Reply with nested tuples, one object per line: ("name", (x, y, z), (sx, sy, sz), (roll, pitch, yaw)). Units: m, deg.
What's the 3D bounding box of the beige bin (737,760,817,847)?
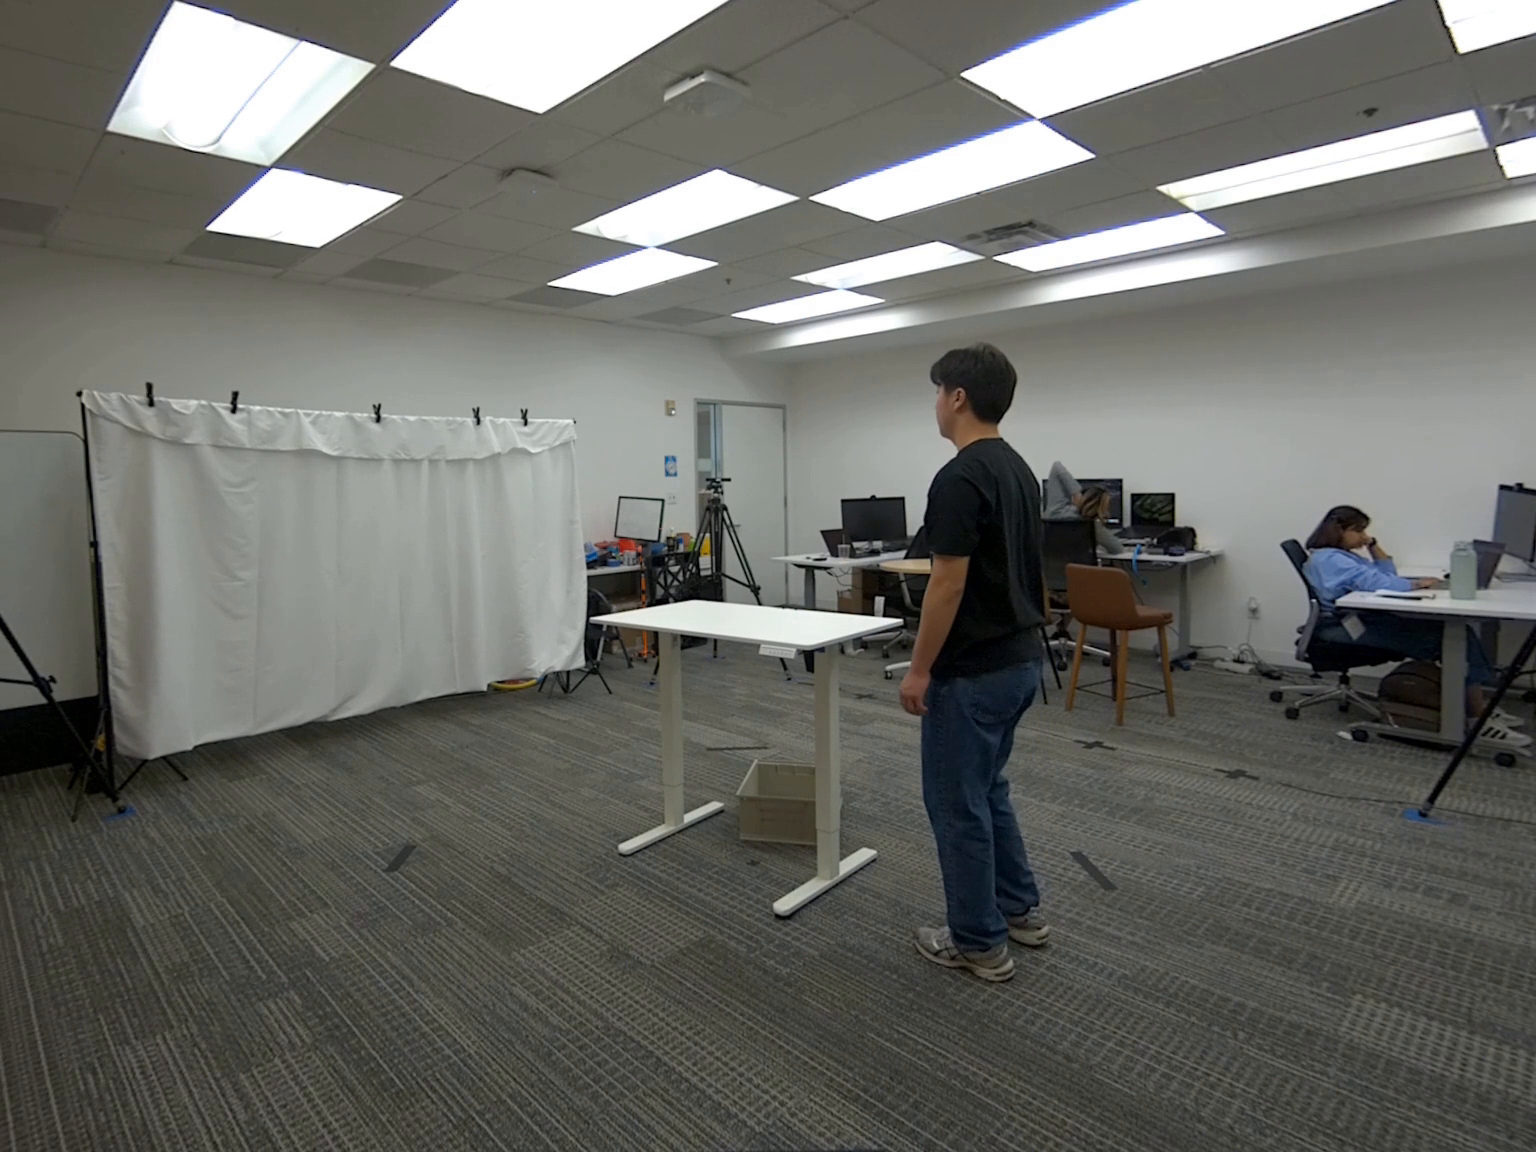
("beige bin", (0.096, 0.910, 3.462), (0.382, 0.188, 0.419), (0, 6, 11))
